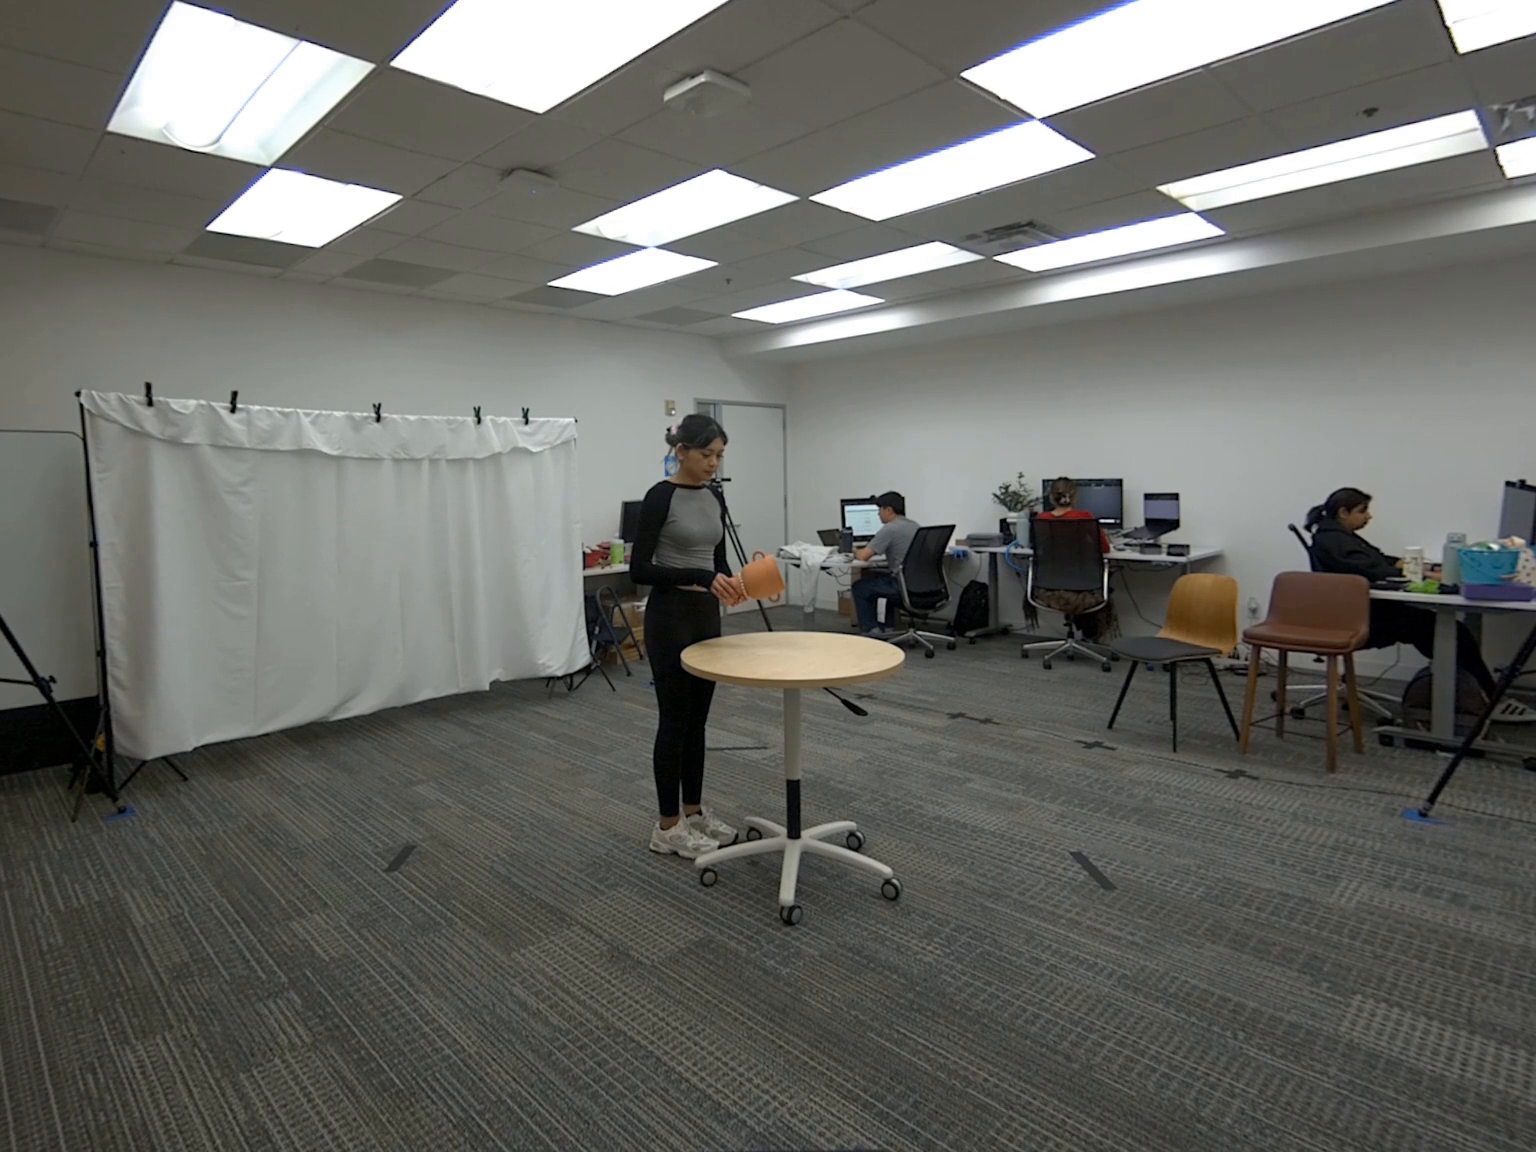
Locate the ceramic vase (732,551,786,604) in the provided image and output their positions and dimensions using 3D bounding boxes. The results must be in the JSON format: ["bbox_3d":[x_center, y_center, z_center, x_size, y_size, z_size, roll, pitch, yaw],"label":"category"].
[{"bbox_3d":[-0.057,0.023,3.034,0.220,0.164,0.130,-21,-37,4],"label":"ceramic vase"}]
